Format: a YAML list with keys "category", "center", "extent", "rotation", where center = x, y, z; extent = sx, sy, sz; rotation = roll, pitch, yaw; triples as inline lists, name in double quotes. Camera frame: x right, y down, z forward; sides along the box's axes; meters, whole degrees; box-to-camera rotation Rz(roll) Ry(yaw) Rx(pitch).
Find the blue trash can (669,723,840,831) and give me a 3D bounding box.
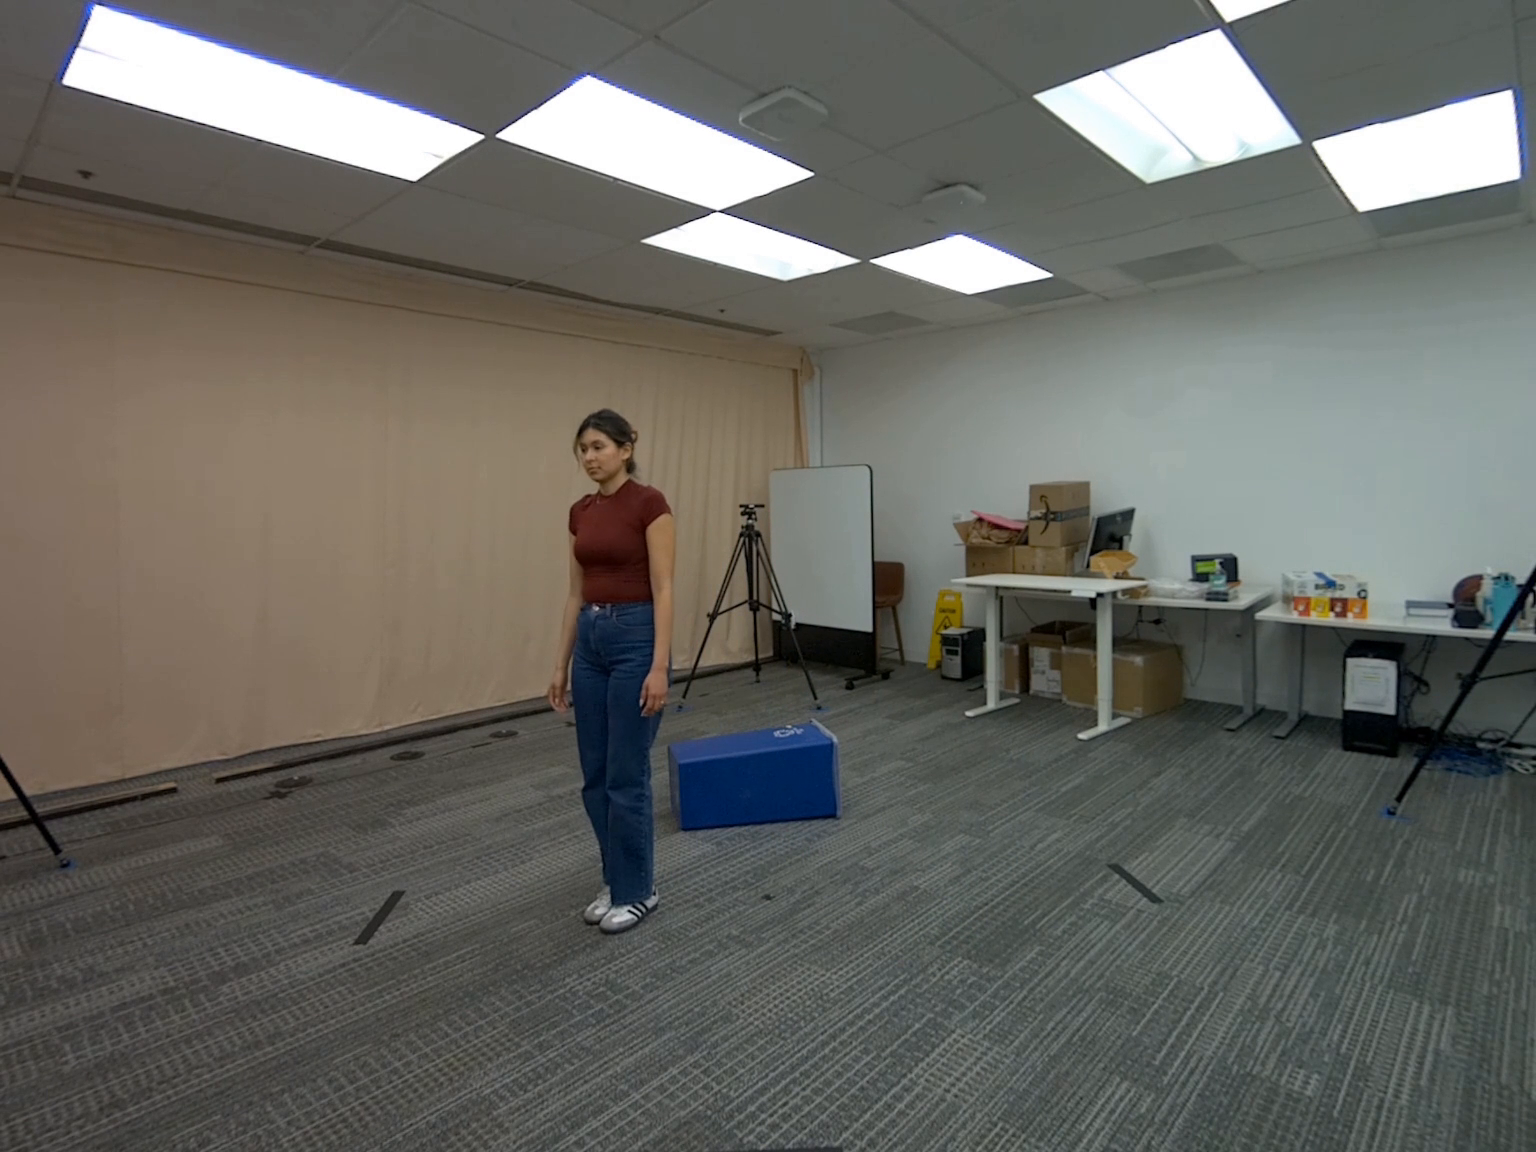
- category: "blue trash can"
  center: [-0.067, 0.904, 3.797]
  extent: [0.704, 0.377, 0.380]
  rotation: [-5, 4, -13]
